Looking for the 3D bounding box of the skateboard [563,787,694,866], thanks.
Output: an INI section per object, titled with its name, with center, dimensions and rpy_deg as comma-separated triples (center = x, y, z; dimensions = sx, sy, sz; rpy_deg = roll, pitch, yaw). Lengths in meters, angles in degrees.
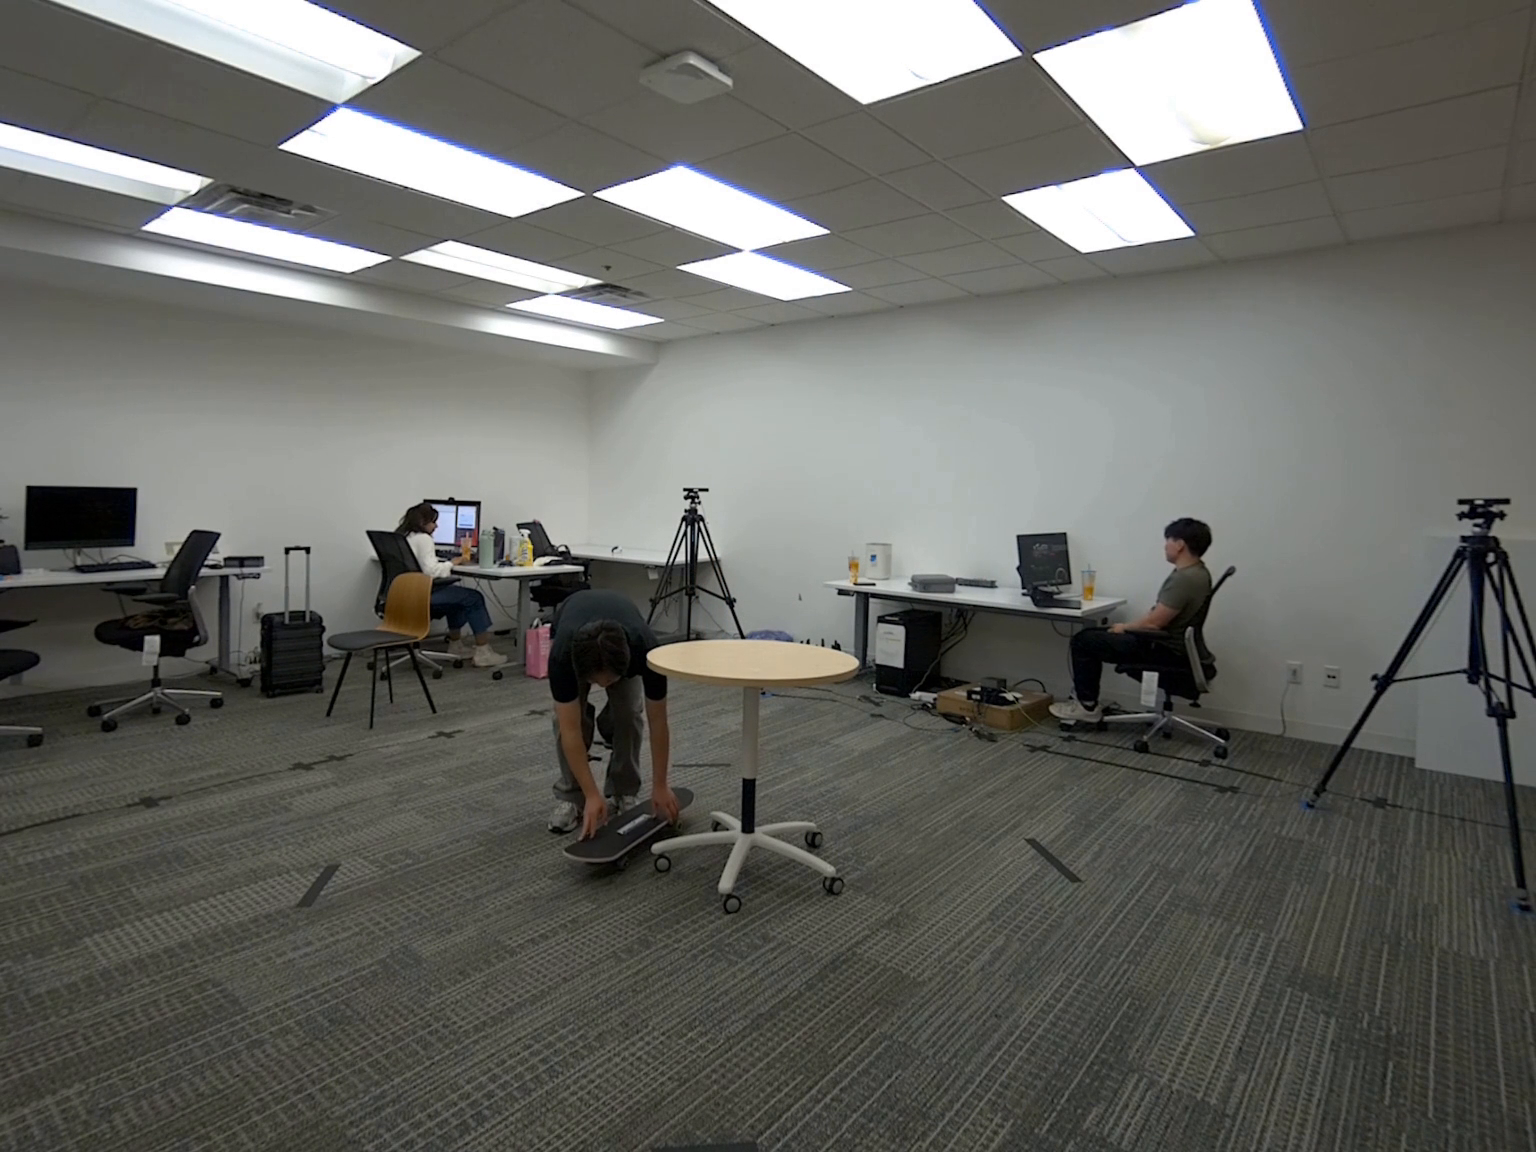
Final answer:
[skateboard]
center = -0.528, 0.988, 3.293
dimensions = 0.198, 0.110, 0.769
rpy_deg = 4, 6, 24
